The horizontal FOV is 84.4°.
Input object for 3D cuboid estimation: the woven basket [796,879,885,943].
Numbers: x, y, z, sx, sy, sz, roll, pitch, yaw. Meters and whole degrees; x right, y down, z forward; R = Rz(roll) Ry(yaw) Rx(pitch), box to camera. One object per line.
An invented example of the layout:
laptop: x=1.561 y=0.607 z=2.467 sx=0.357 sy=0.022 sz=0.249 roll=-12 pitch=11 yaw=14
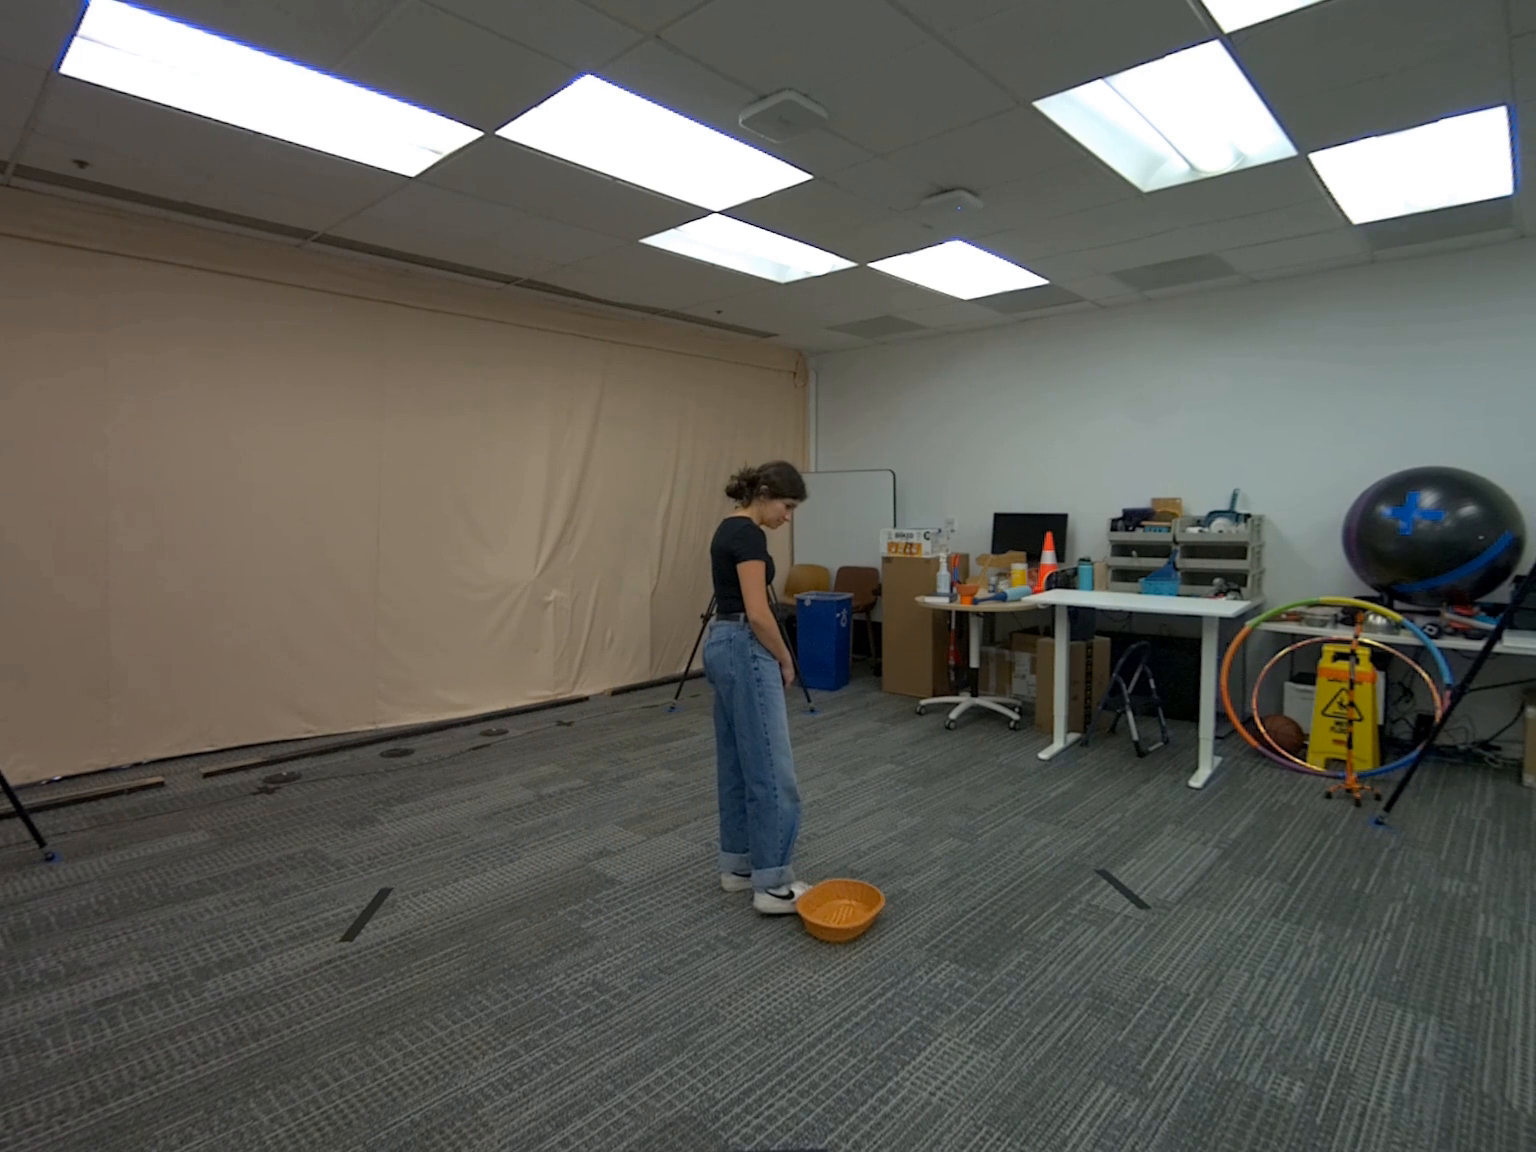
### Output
woven basket: x=0.237 y=1.115 z=2.810 sx=0.260 sy=0.073 sz=0.340 roll=6 pitch=8 yaw=34
